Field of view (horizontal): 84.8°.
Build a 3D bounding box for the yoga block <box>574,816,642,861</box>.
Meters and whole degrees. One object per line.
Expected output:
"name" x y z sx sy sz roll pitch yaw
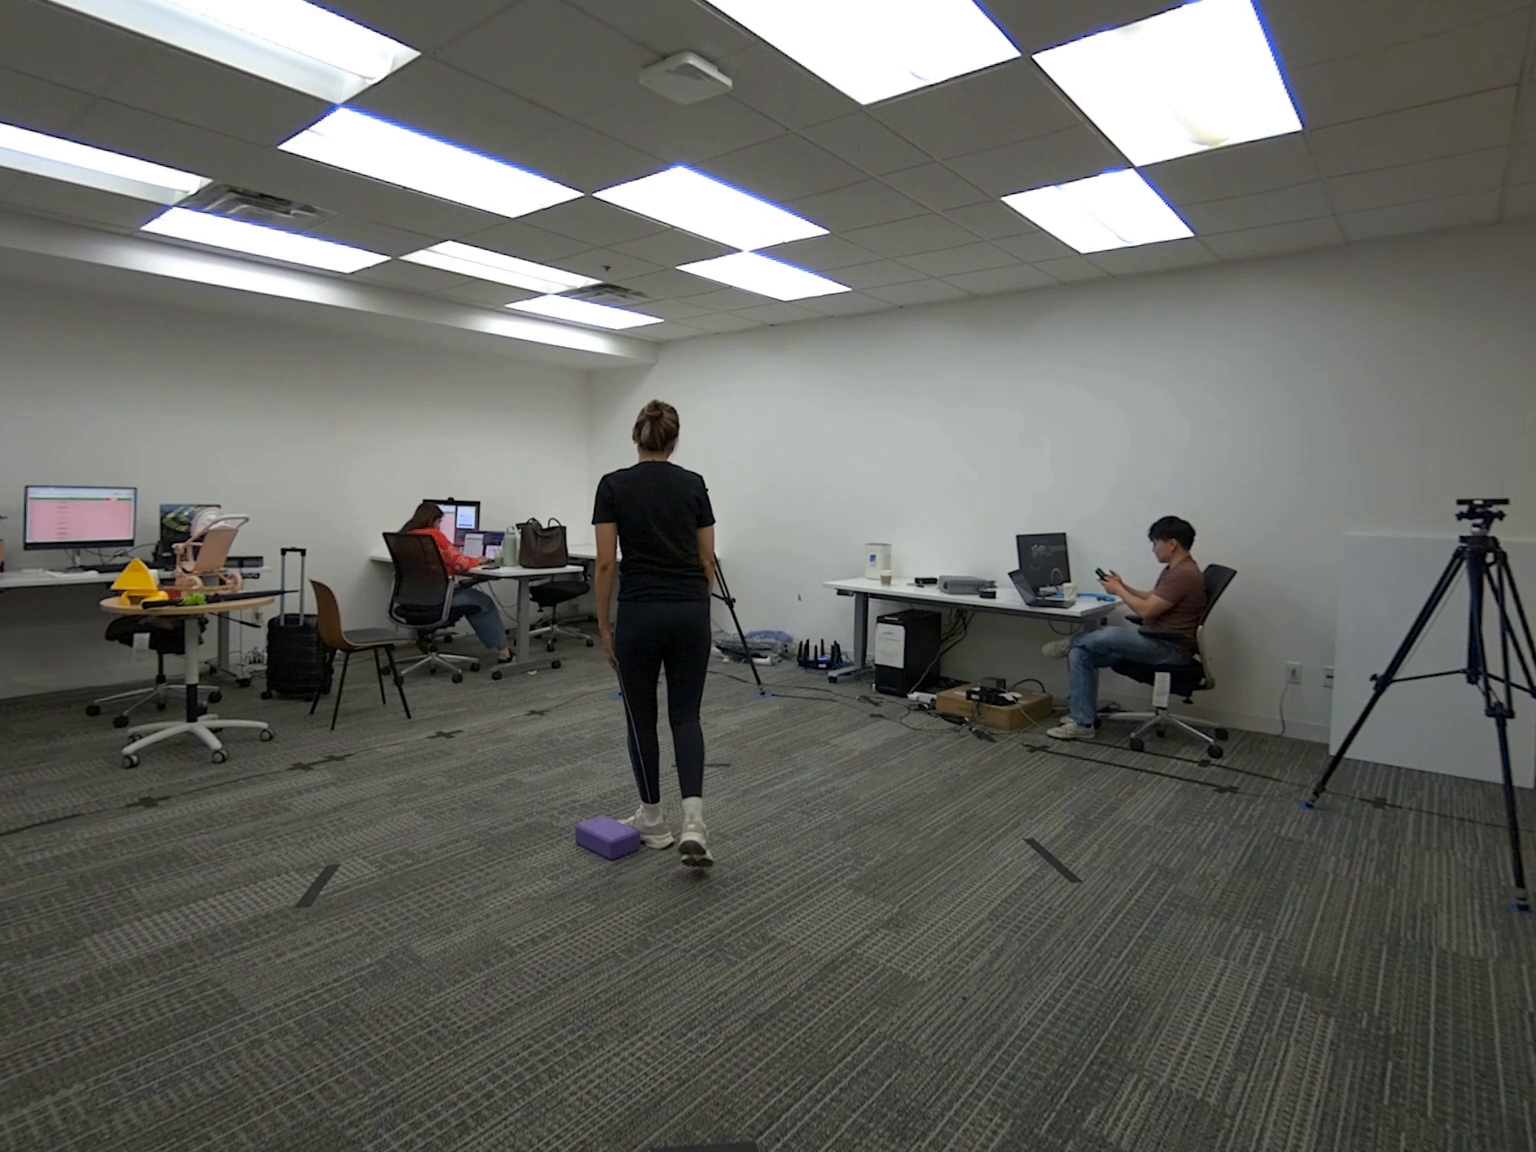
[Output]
"yoga block" -0.630 1.004 3.283 0.237 0.076 0.144 5 7 41
